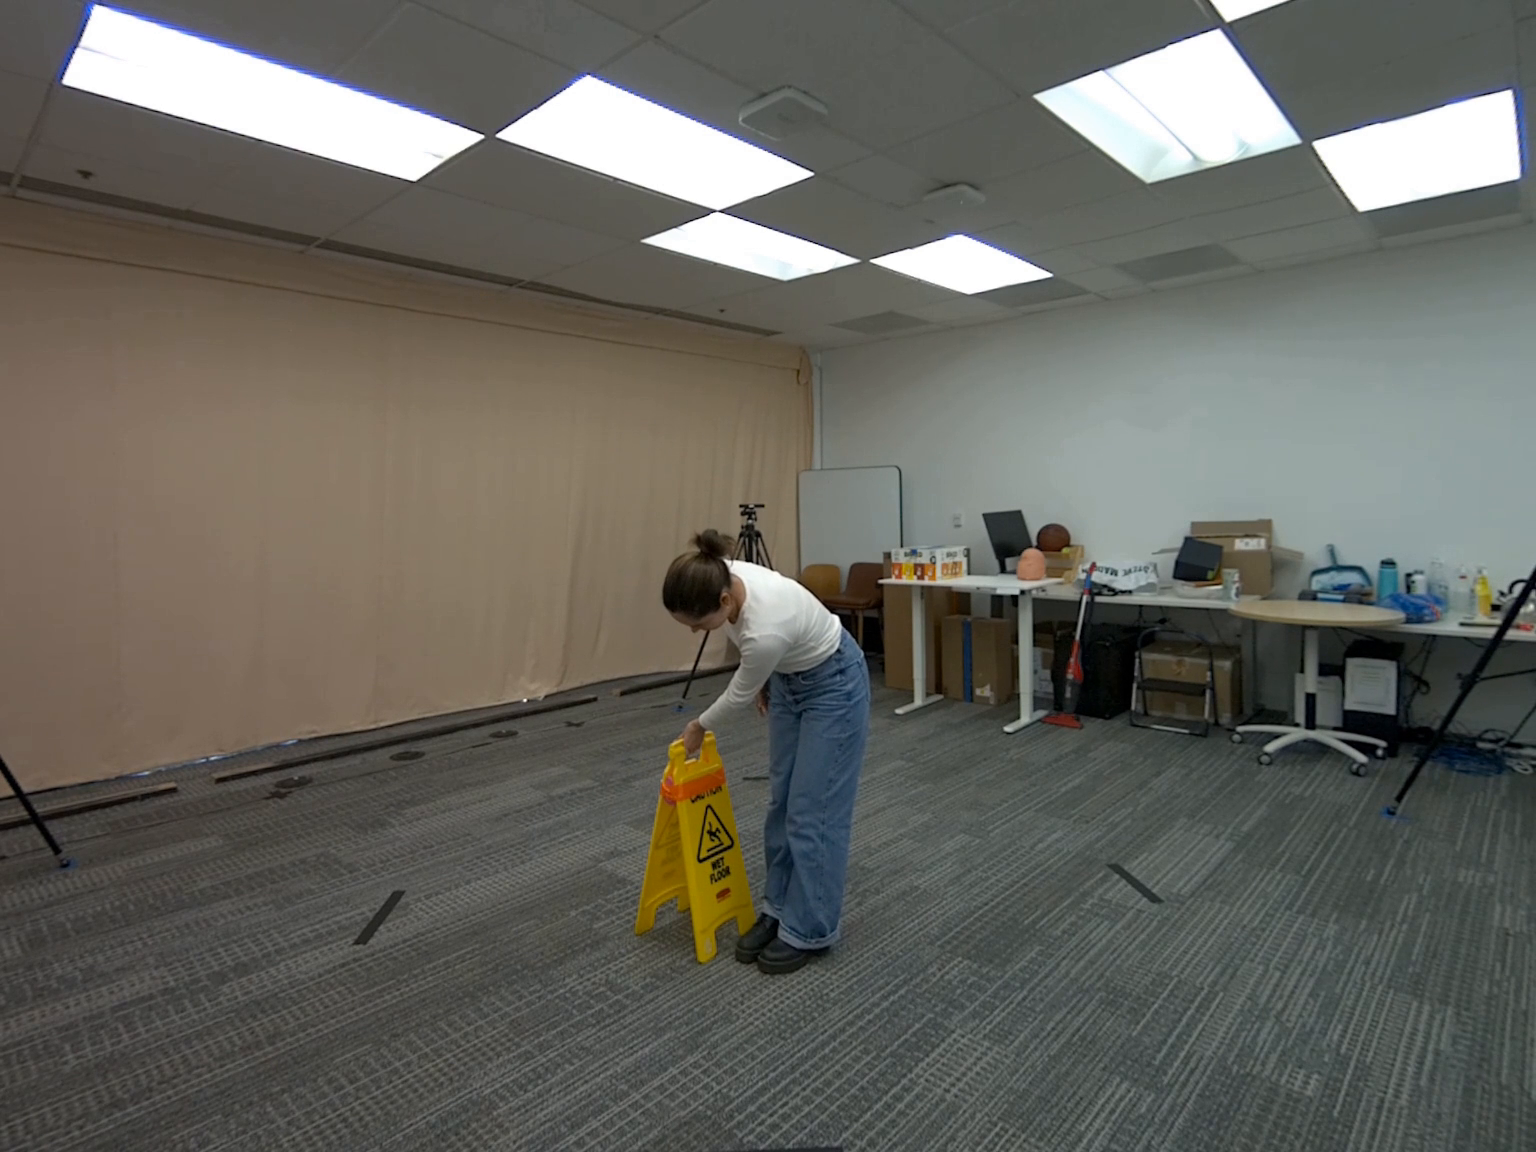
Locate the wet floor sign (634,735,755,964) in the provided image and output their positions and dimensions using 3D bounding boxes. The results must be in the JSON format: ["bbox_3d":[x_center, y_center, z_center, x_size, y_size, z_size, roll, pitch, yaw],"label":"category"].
[{"bbox_3d":[-0.242,0.845,2.736,0.299,0.645,0.274,1,3,39],"label":"wet floor sign"}]
